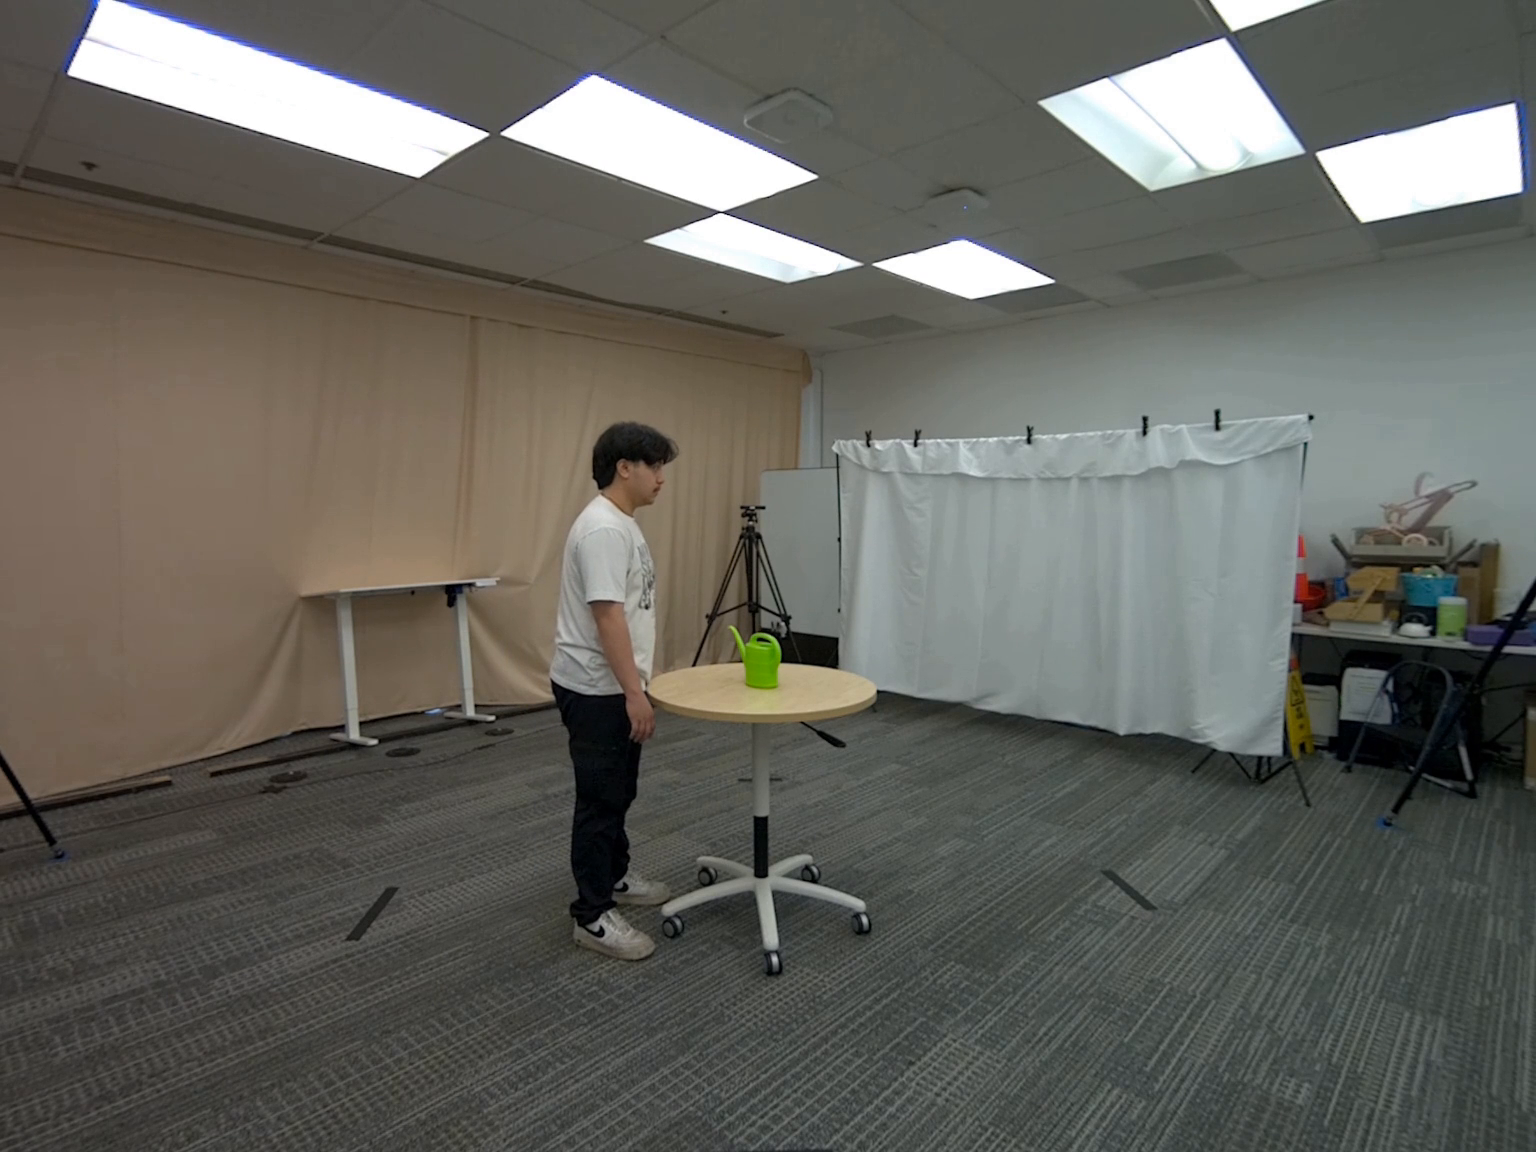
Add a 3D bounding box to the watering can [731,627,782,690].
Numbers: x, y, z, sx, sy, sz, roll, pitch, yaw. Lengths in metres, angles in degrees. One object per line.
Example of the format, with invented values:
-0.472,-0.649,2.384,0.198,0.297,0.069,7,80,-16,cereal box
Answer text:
-0.036,0.275,2.839,0.096,0.176,0.285,1,5,-24,watering can
